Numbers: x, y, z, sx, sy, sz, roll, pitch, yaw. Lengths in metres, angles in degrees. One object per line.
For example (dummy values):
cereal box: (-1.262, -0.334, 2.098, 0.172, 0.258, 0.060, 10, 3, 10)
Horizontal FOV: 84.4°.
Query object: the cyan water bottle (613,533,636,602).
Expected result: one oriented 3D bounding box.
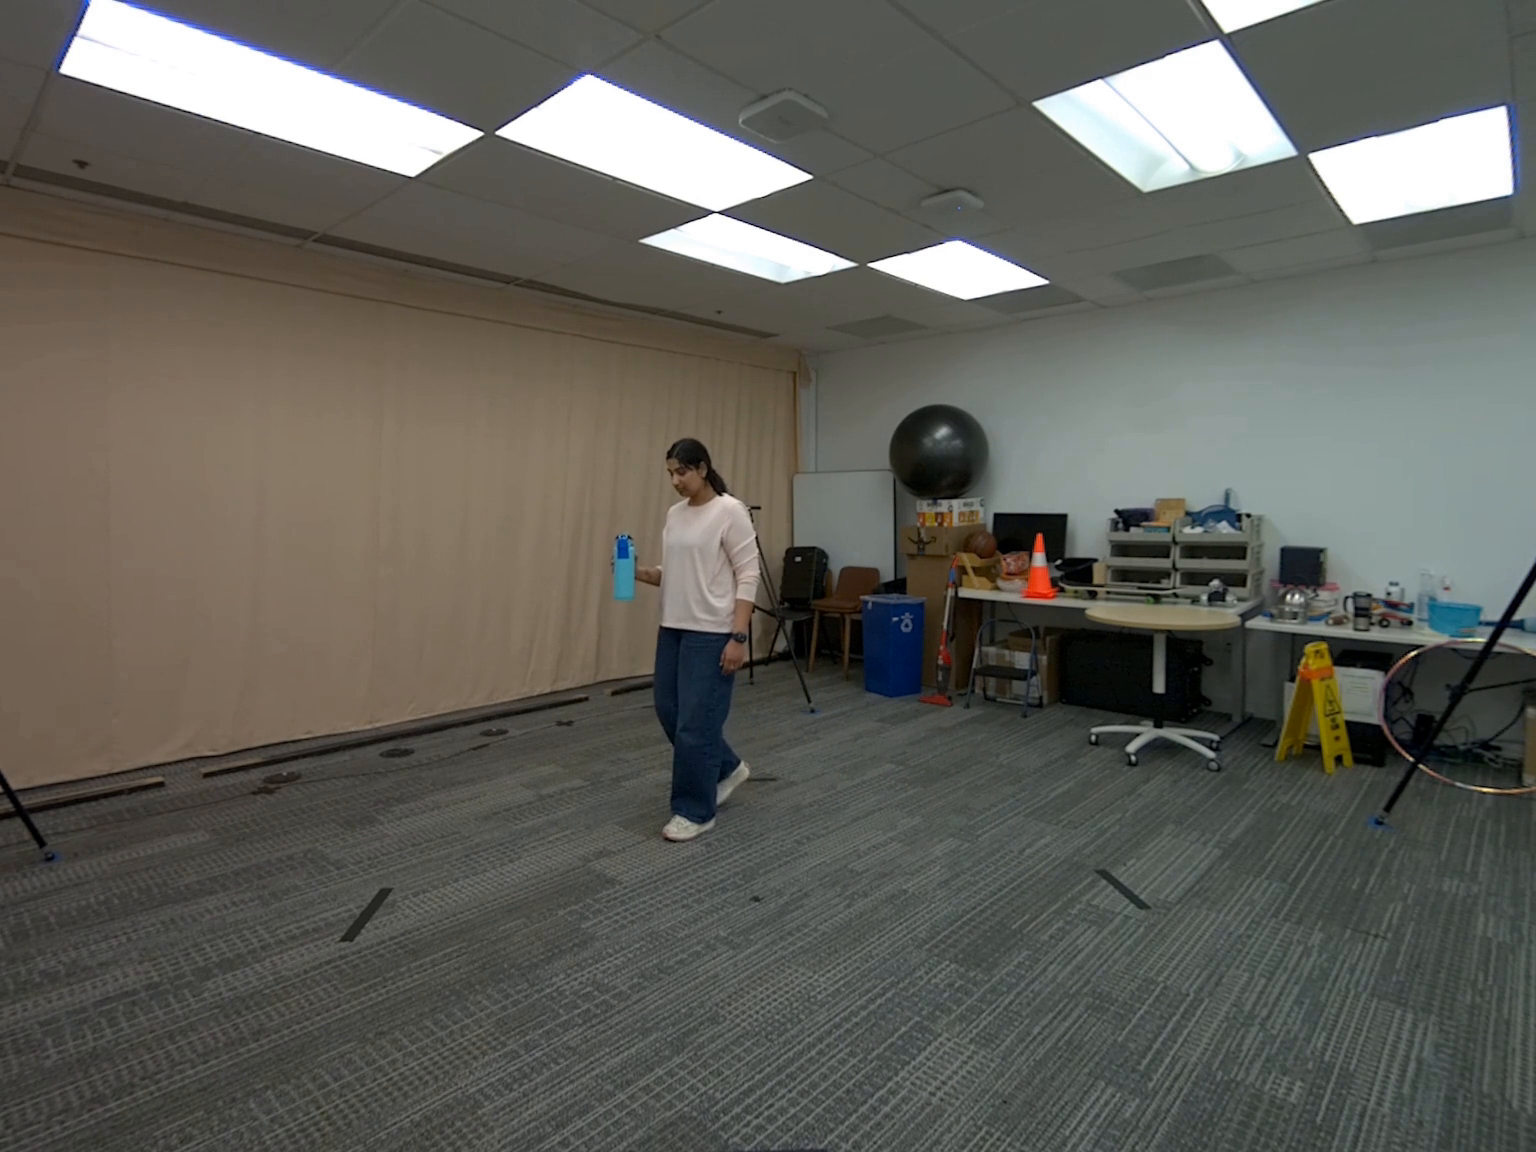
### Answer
cyan water bottle: (-0.606, -0.040, 3.567, 0.092, 0.283, 0.092, 1, 3, -2)
